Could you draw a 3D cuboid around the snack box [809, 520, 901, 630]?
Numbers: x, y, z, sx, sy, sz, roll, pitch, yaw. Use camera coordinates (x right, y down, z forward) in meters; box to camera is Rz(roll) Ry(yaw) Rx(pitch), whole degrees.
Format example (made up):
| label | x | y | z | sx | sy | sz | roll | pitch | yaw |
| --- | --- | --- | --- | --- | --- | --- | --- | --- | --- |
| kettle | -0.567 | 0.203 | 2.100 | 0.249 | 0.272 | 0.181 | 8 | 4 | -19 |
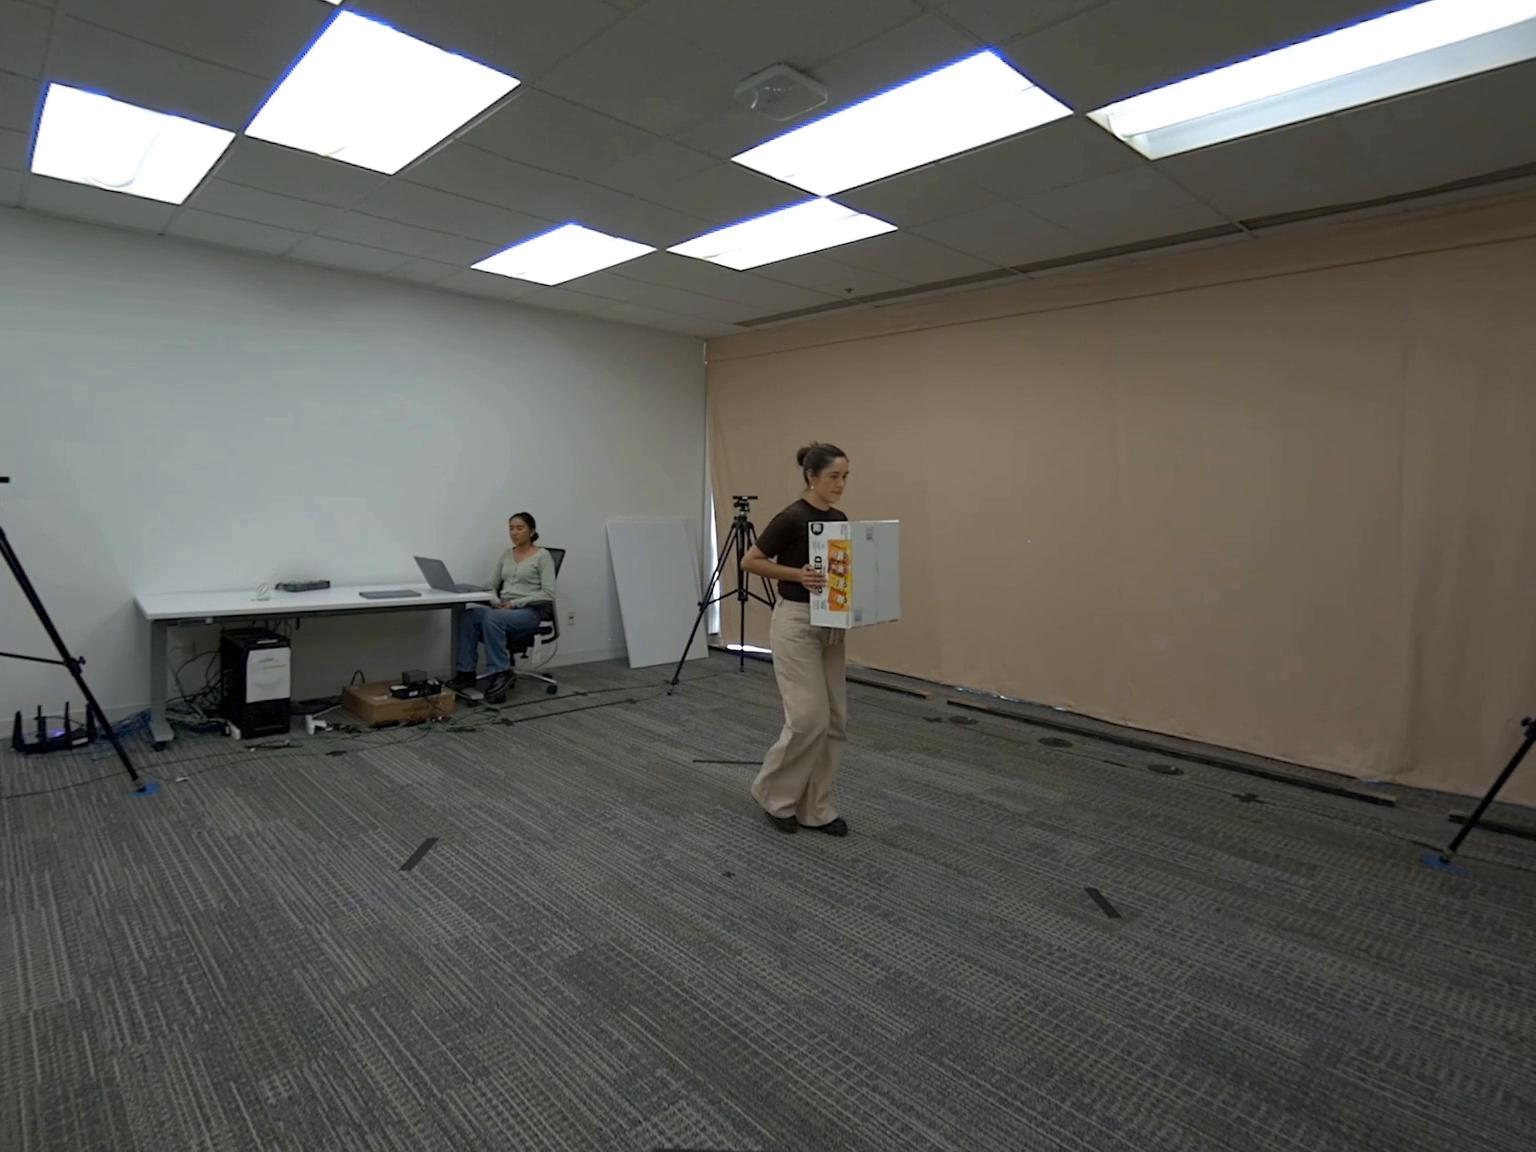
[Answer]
| label | x | y | z | sx | sy | sz | roll | pitch | yaw |
| --- | --- | --- | --- | --- | --- | --- | --- | --- | --- |
| snack box | 0.342 | -0.014 | 3.369 | 0.210 | 0.404 | 0.333 | 1 | 3 | 43 |
